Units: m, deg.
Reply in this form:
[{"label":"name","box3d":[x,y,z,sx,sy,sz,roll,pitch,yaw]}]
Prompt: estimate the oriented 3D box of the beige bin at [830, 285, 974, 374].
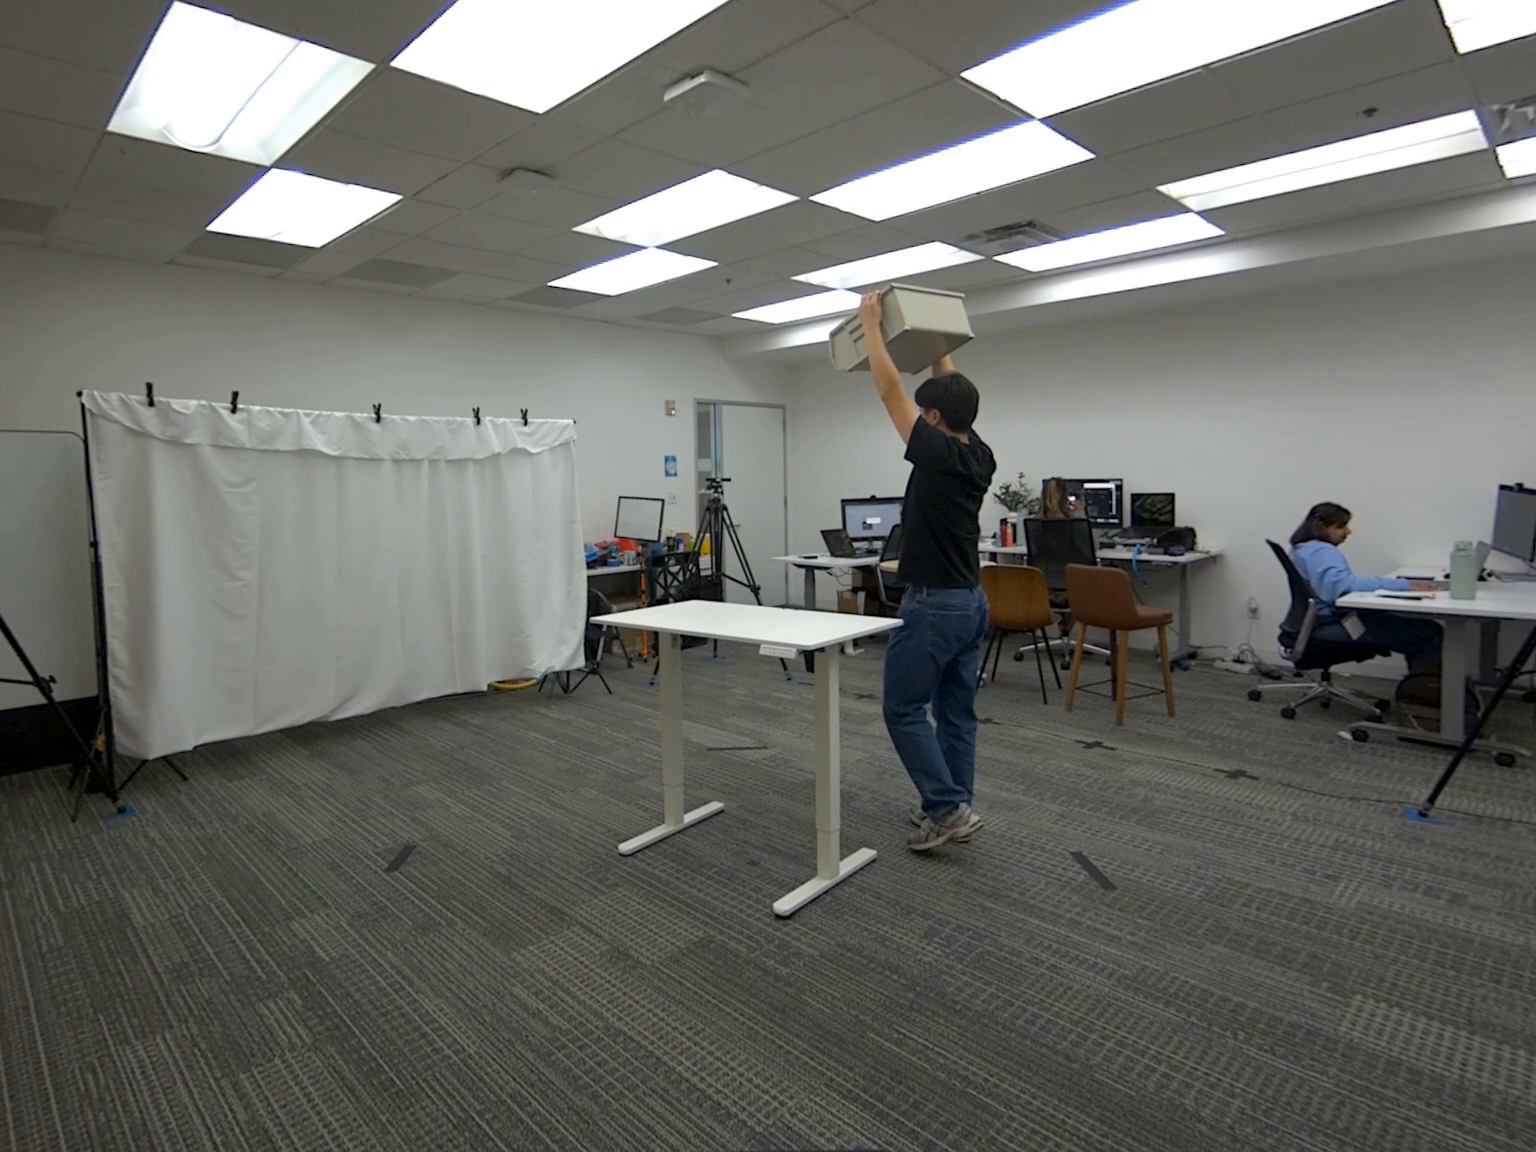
[{"label":"beige bin","box3d":[0.505,-0.923,3.294,0.412,0.191,0.382,-8,-13,-39]}]
